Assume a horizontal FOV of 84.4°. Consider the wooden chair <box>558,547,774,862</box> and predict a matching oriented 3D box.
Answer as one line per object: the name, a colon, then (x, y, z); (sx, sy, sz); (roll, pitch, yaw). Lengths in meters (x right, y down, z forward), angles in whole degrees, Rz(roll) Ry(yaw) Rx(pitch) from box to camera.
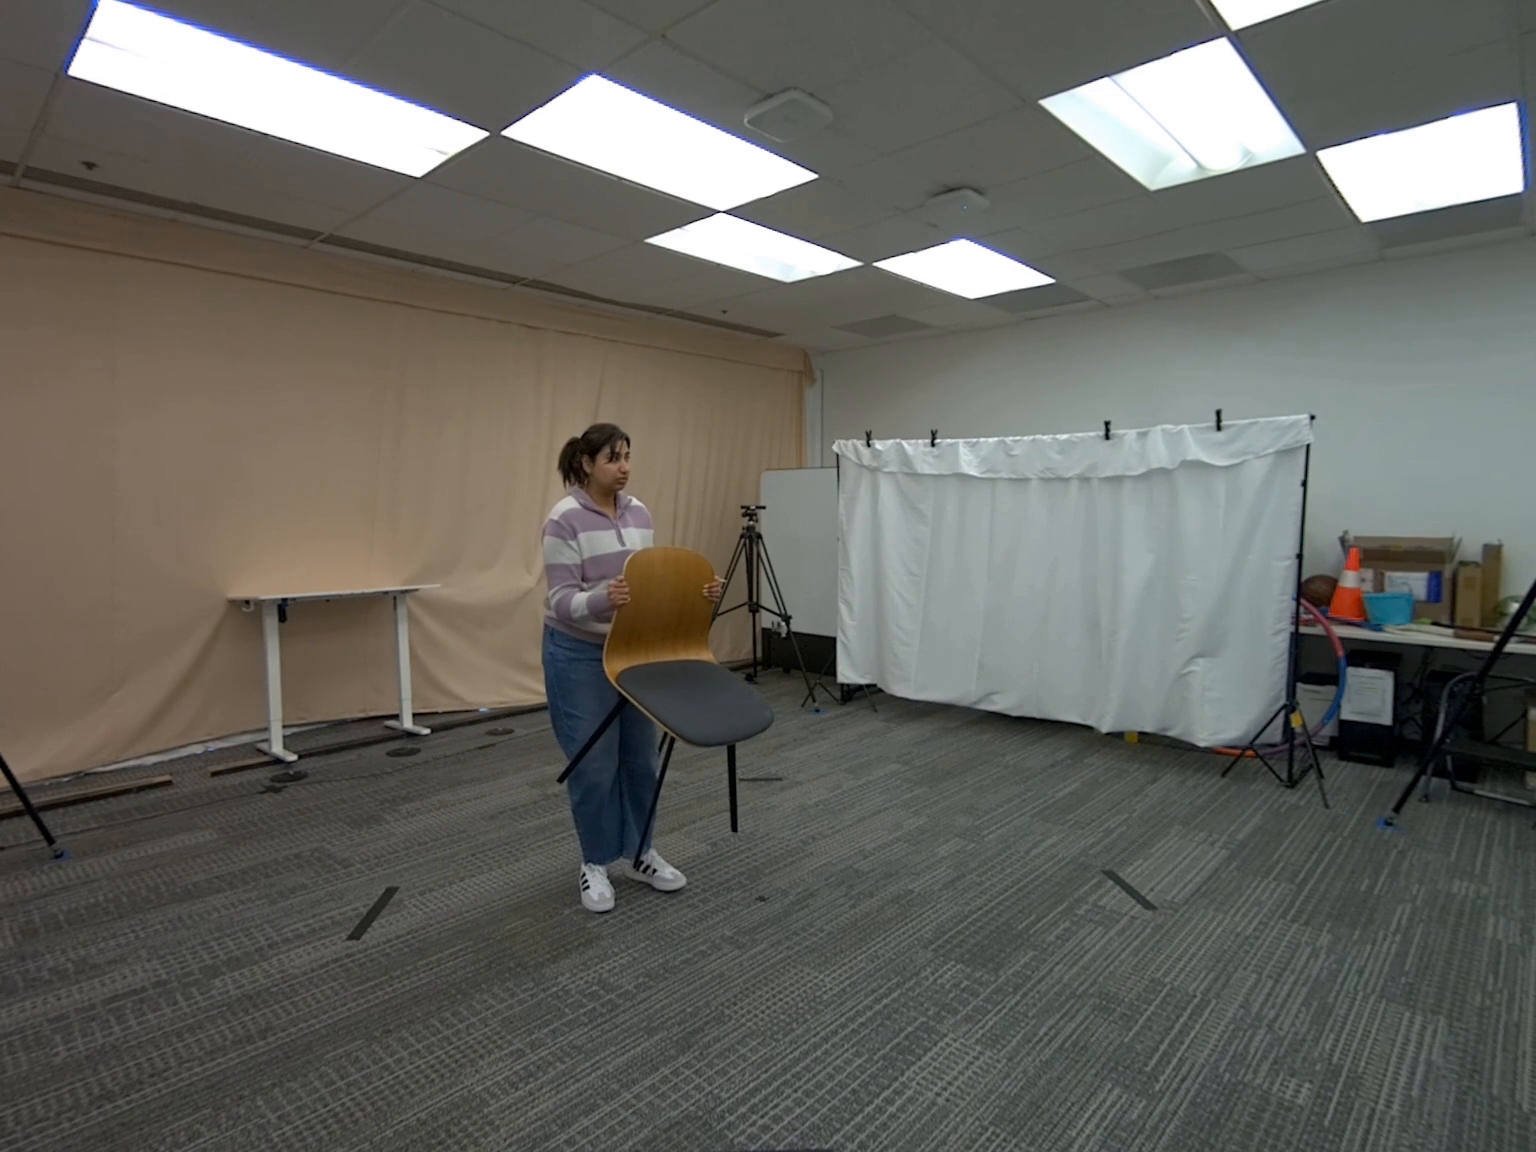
wooden chair: (-0.270, 0.410, 2.714); (0.463, 0.873, 0.543); (0, 21, -46)
